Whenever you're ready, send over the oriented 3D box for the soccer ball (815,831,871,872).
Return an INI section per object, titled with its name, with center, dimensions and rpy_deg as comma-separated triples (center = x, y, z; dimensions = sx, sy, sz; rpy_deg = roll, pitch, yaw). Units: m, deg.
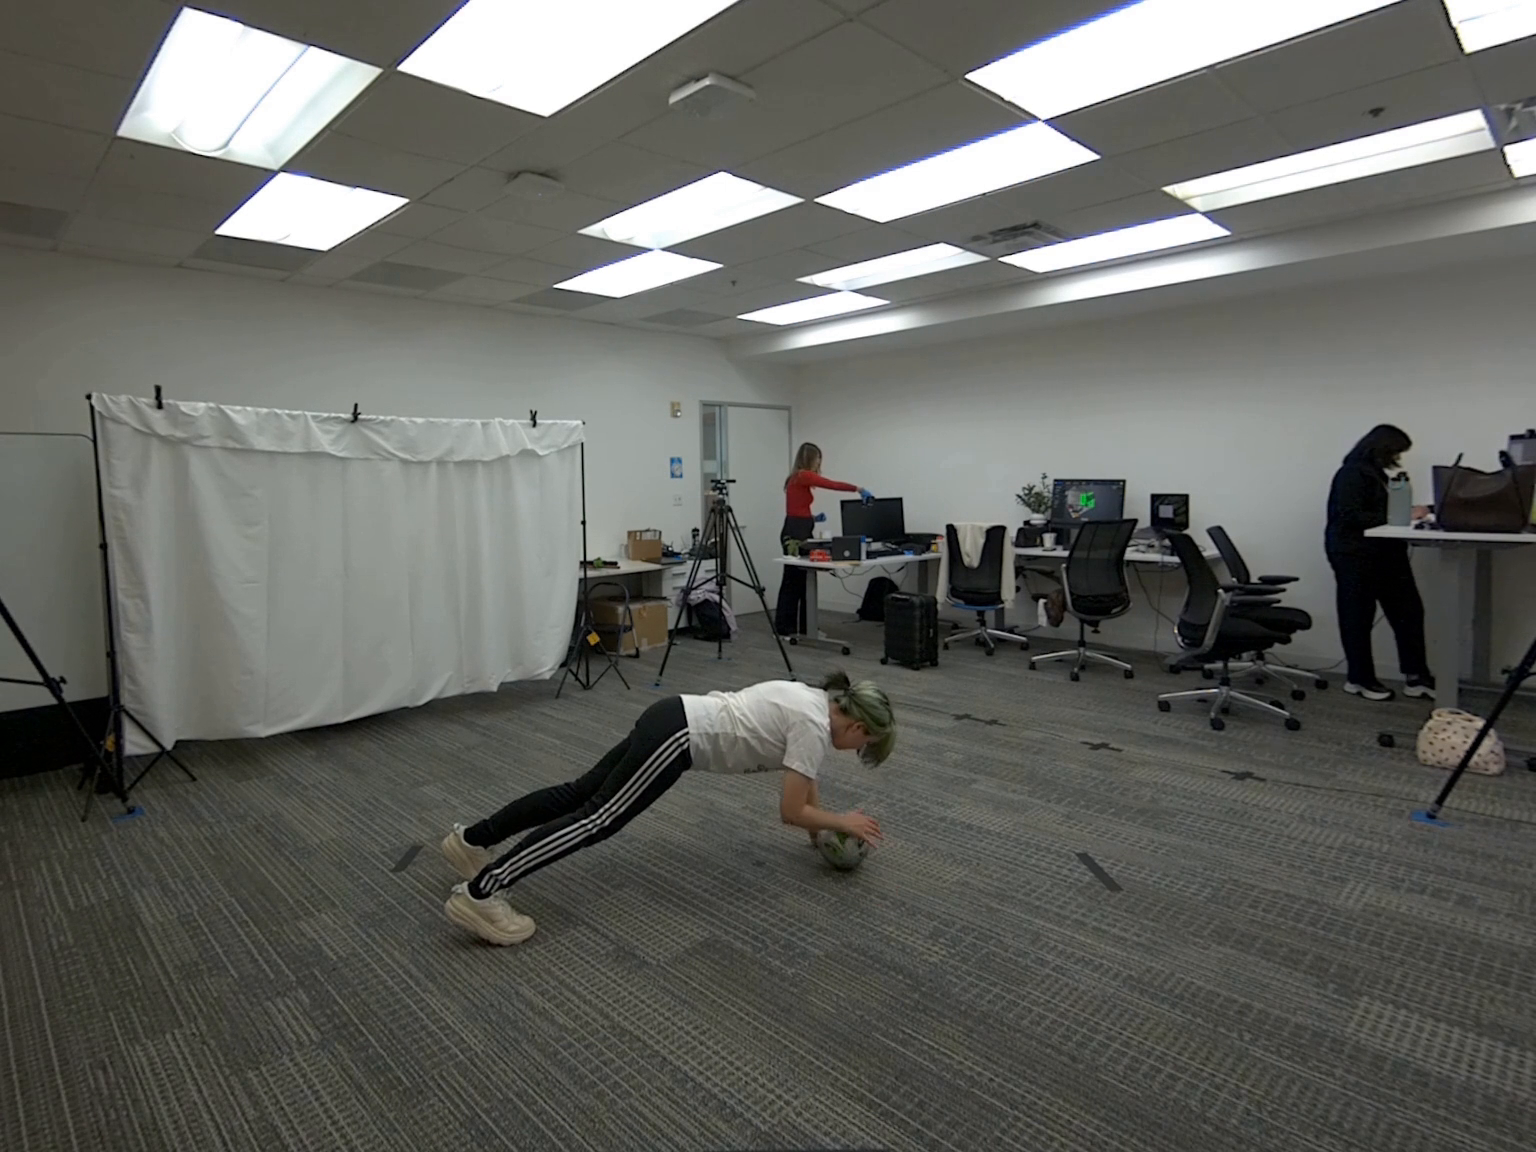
[soccer ball]
center = 0.275, 0.949, 3.064
dimensions = 0.187, 0.187, 0.188
rpy_deg = -1, 5, -2
